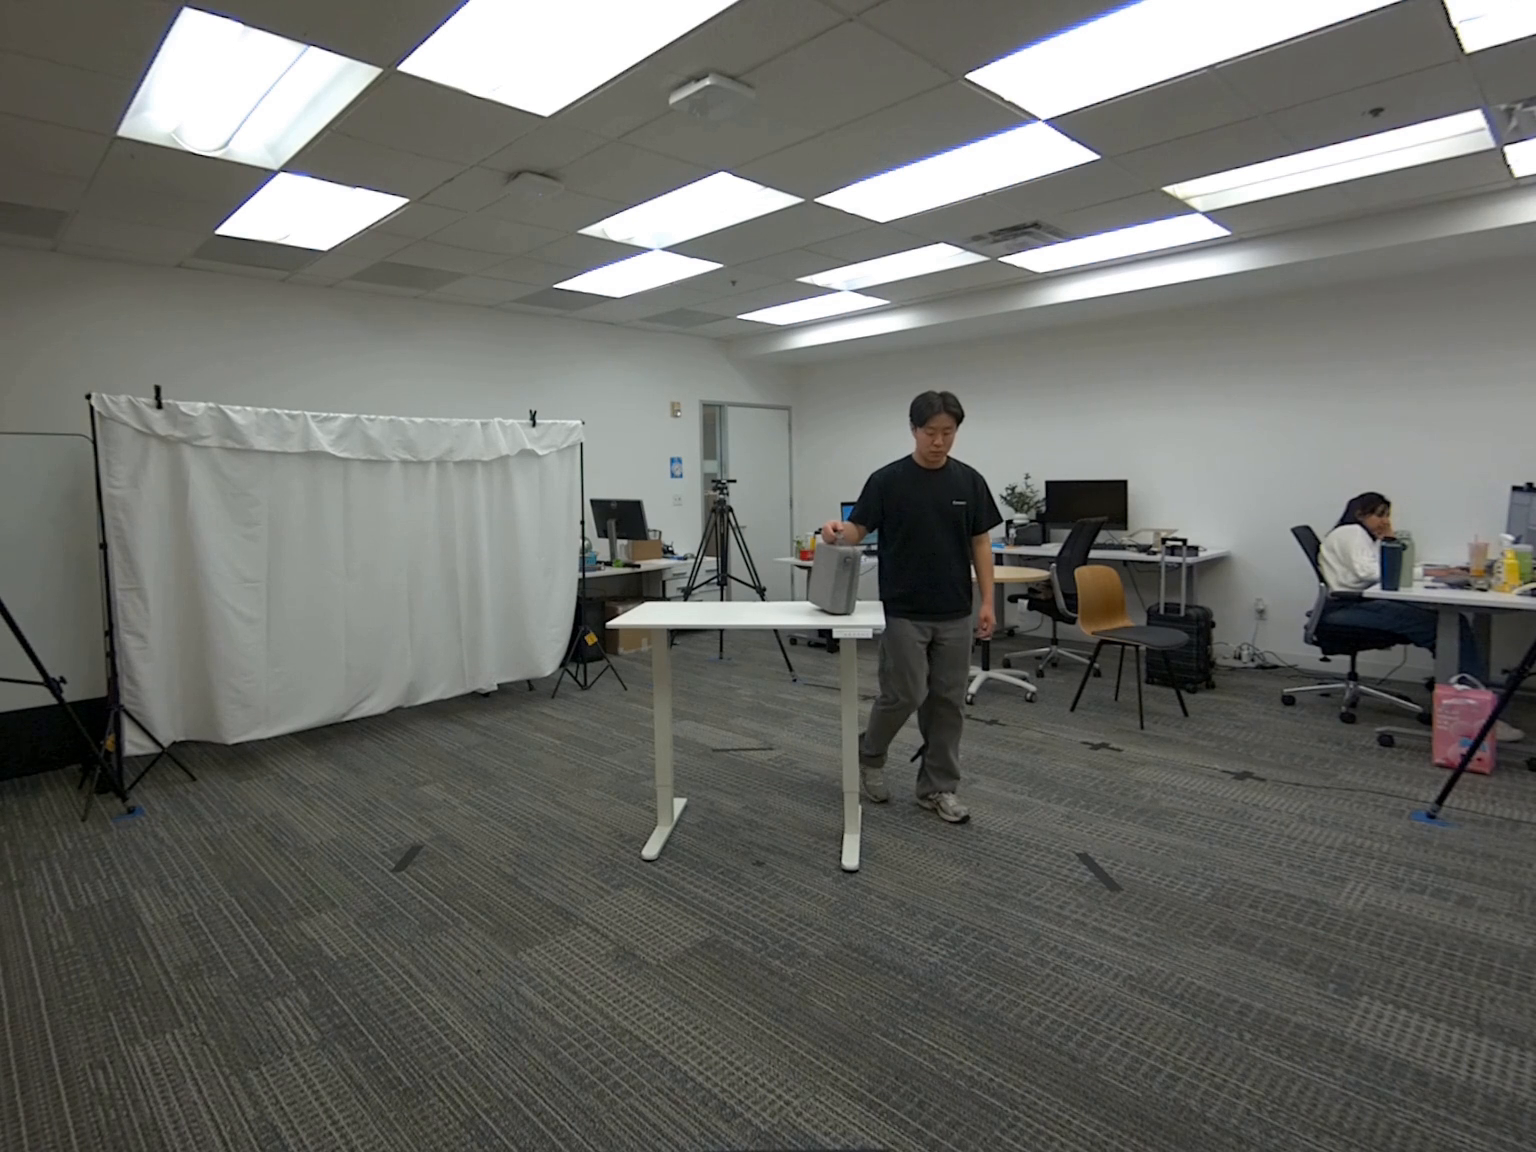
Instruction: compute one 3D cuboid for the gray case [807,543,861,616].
[{"bbox_3d":[0.256,-0.006,3.260,0.101,0.286,0.268,4,4,-17],"label":"gray case"}]
